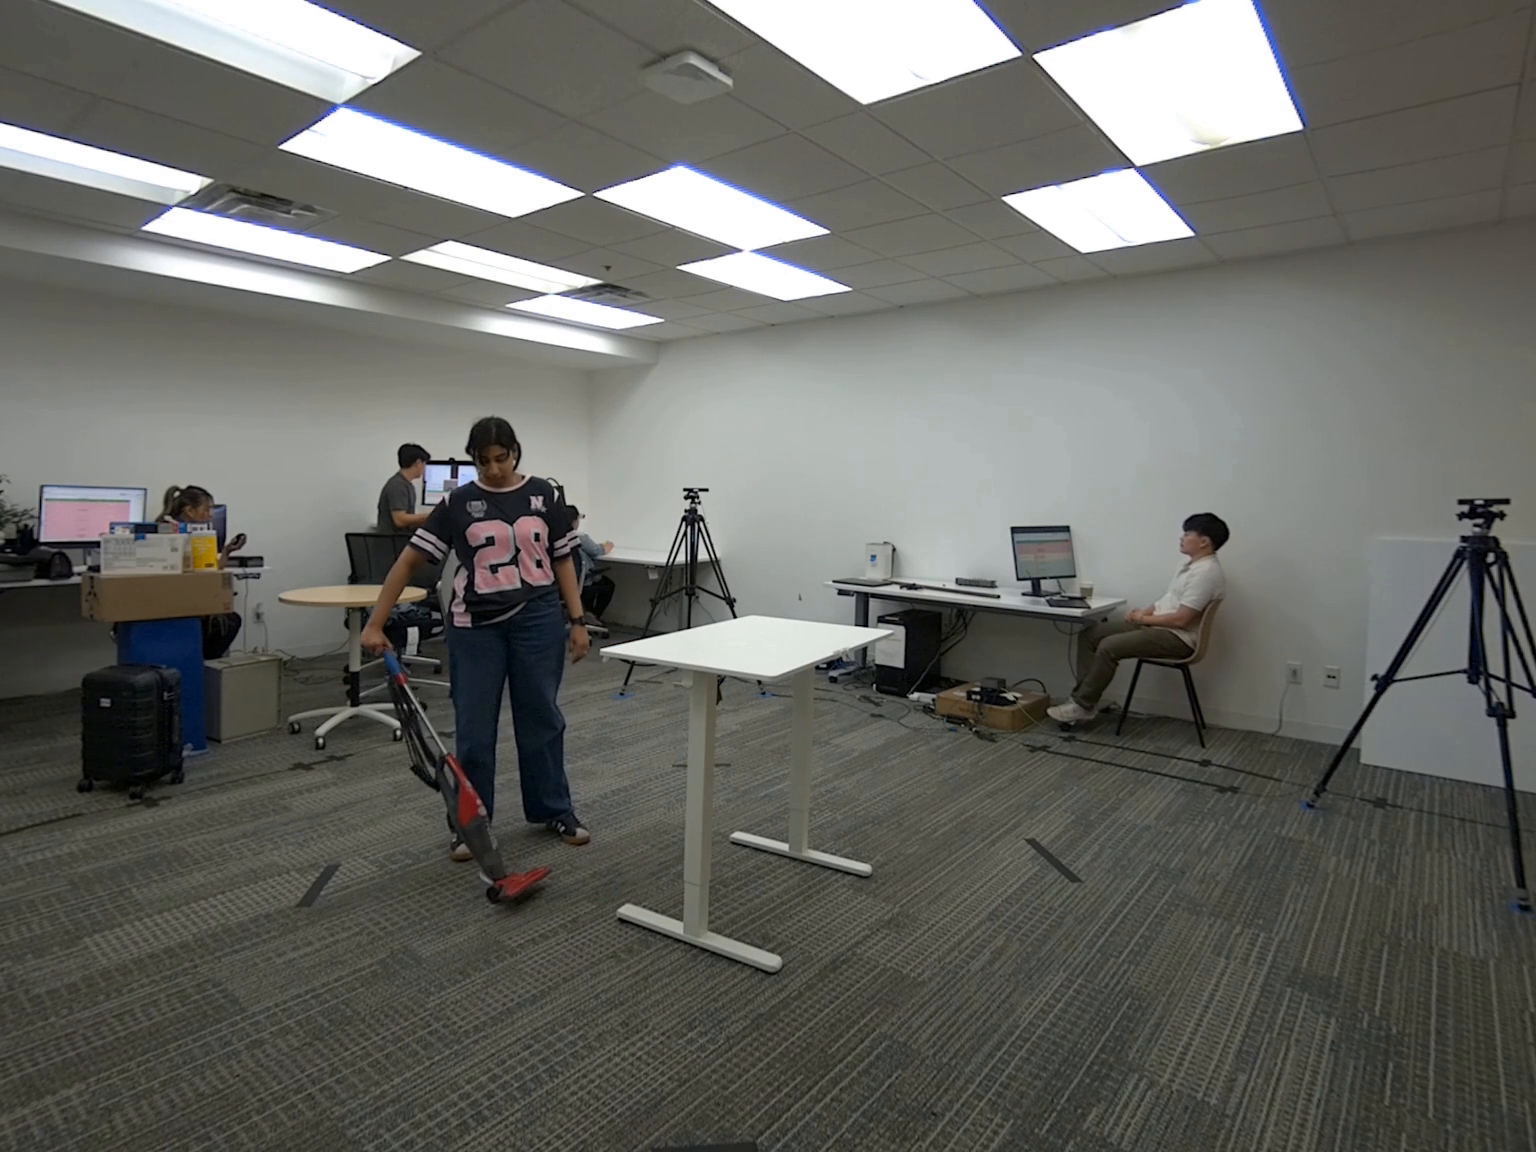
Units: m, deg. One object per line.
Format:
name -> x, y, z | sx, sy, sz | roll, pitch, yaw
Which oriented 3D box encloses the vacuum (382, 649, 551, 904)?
vacuum -> -1.167, 0.645, 2.988 | 0.144, 1.070, 0.247 | -41, -14, 12
